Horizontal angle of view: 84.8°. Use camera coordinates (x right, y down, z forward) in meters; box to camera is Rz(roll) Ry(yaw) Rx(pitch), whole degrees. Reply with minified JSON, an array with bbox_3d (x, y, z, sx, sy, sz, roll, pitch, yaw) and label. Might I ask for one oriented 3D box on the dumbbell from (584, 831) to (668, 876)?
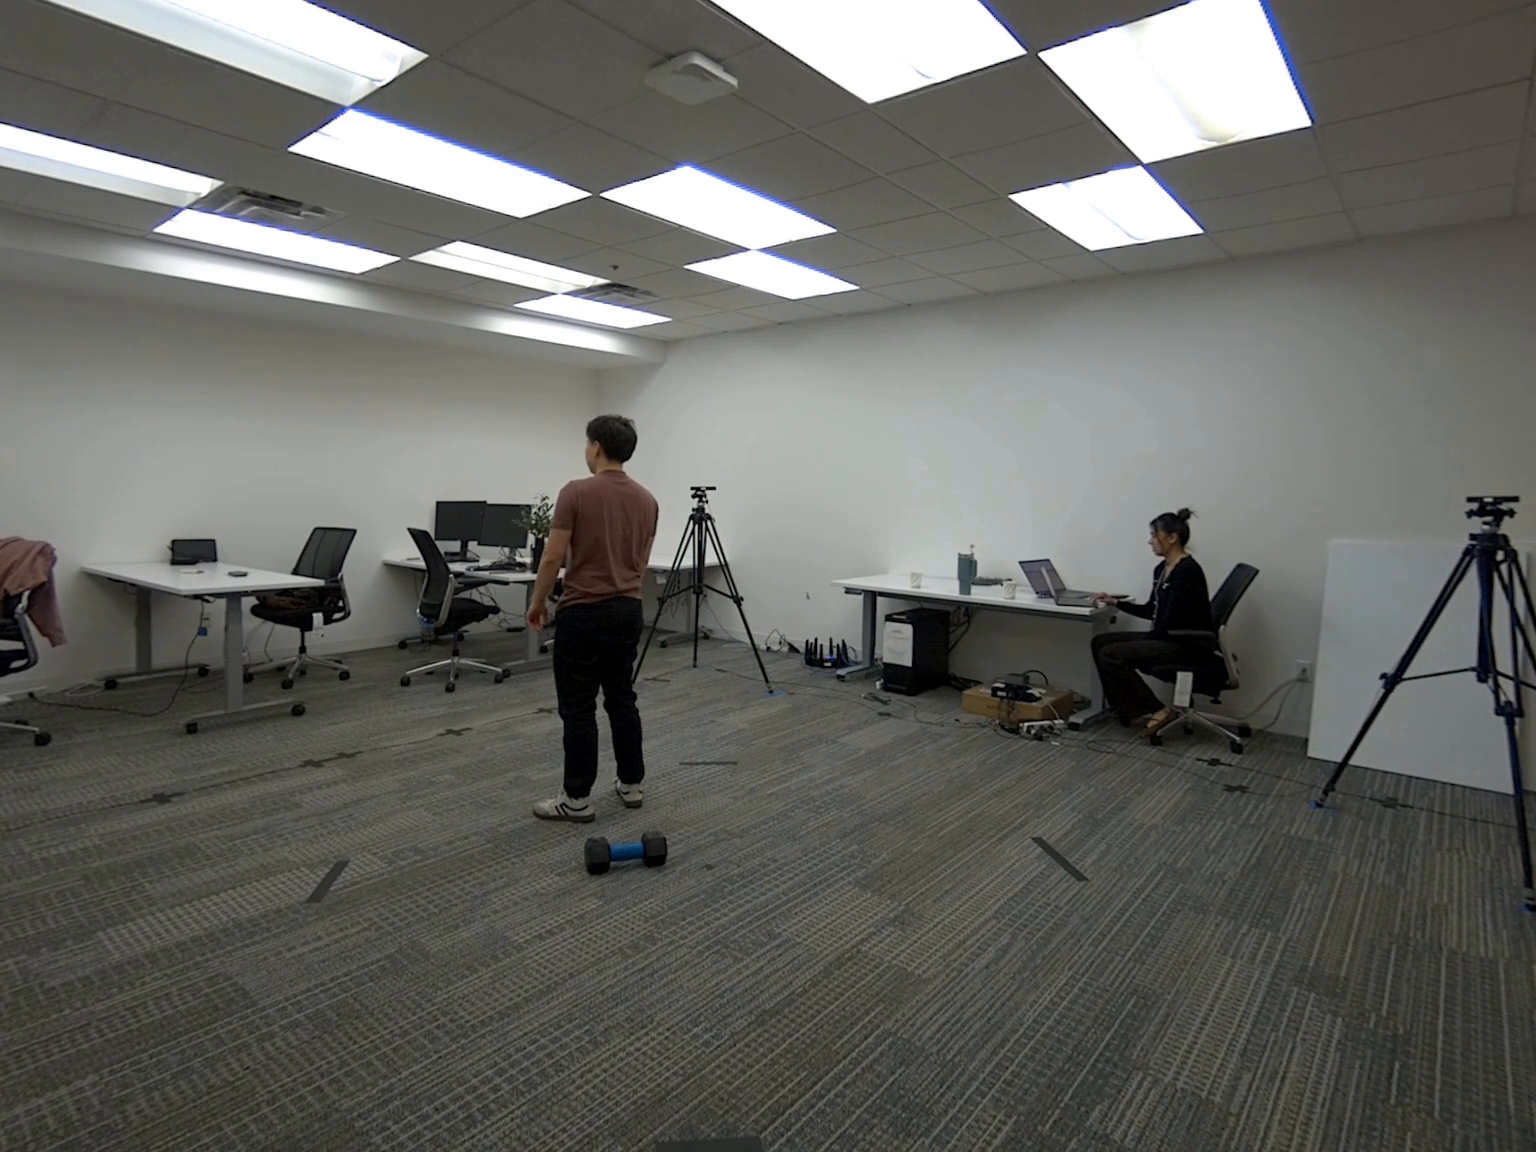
[{"bbox_3d":[-0.530,1.009,3.109,0.288,0.108,0.125,-1,3,-18],"label":"dumbbell"}]
